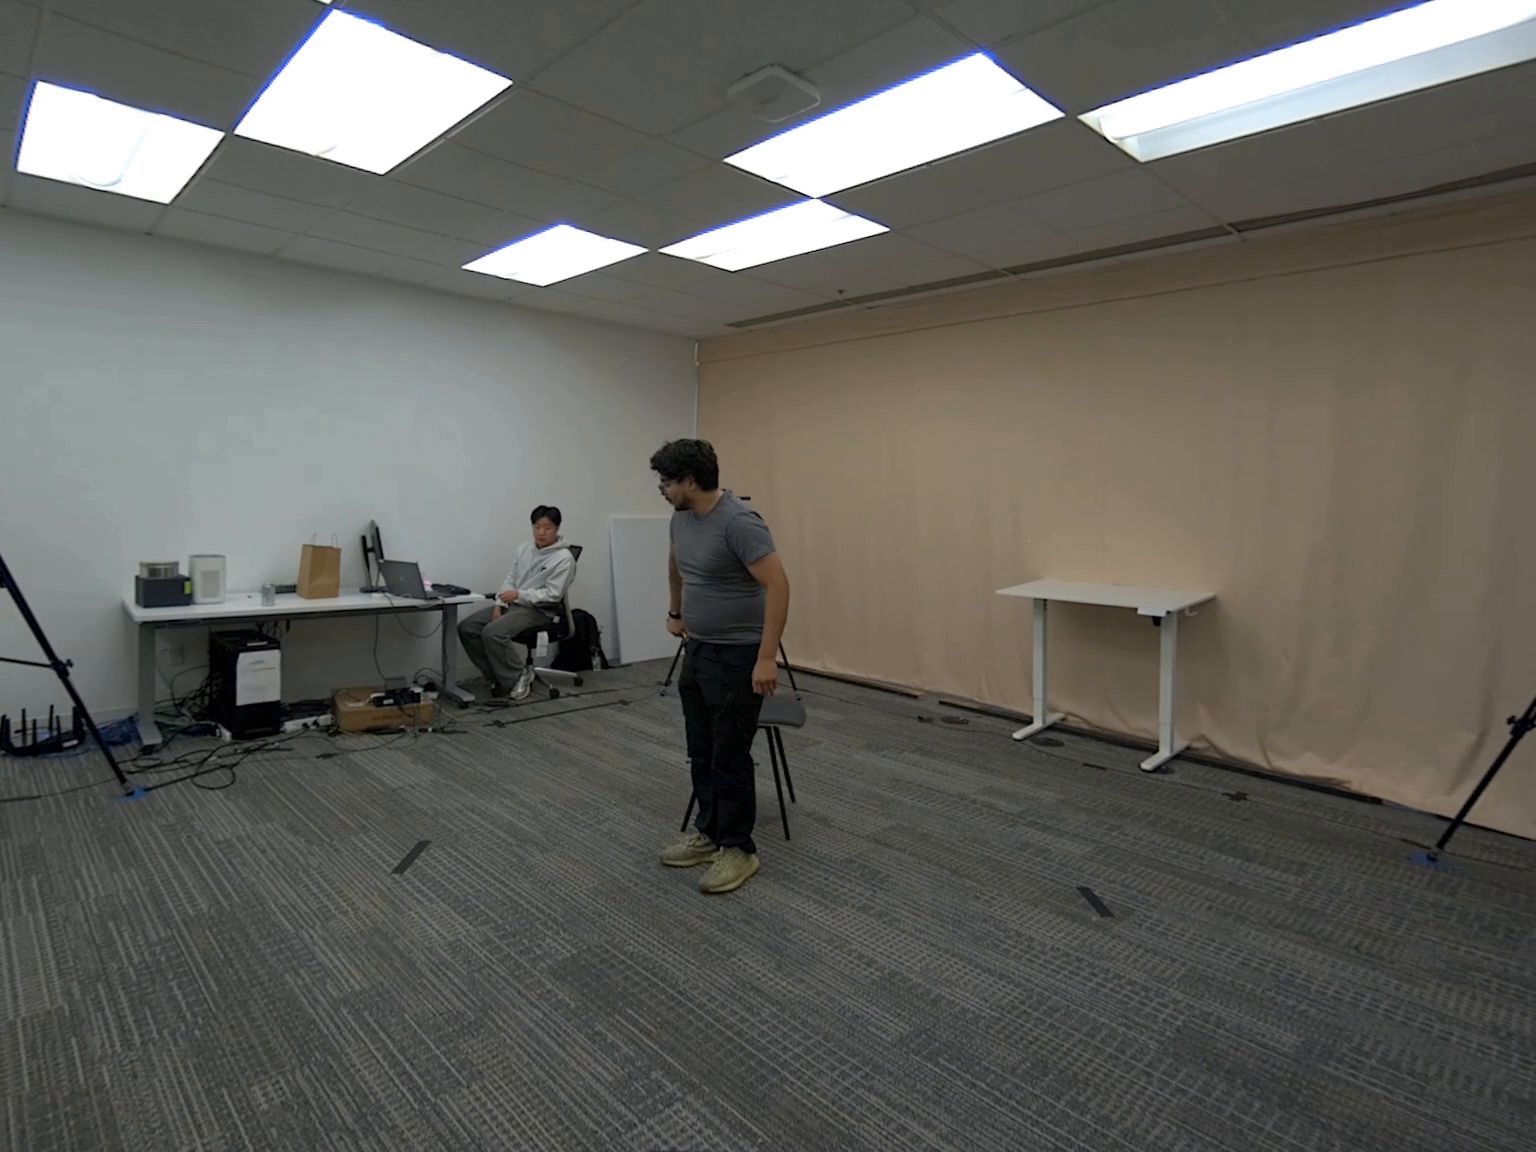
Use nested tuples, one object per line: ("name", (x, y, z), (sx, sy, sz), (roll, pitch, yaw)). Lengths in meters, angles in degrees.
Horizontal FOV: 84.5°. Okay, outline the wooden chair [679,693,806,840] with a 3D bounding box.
("wooden chair", (-0.109, 0.632, 3.656), (0.526, 0.876, 0.476), (-2, 3, 7))
